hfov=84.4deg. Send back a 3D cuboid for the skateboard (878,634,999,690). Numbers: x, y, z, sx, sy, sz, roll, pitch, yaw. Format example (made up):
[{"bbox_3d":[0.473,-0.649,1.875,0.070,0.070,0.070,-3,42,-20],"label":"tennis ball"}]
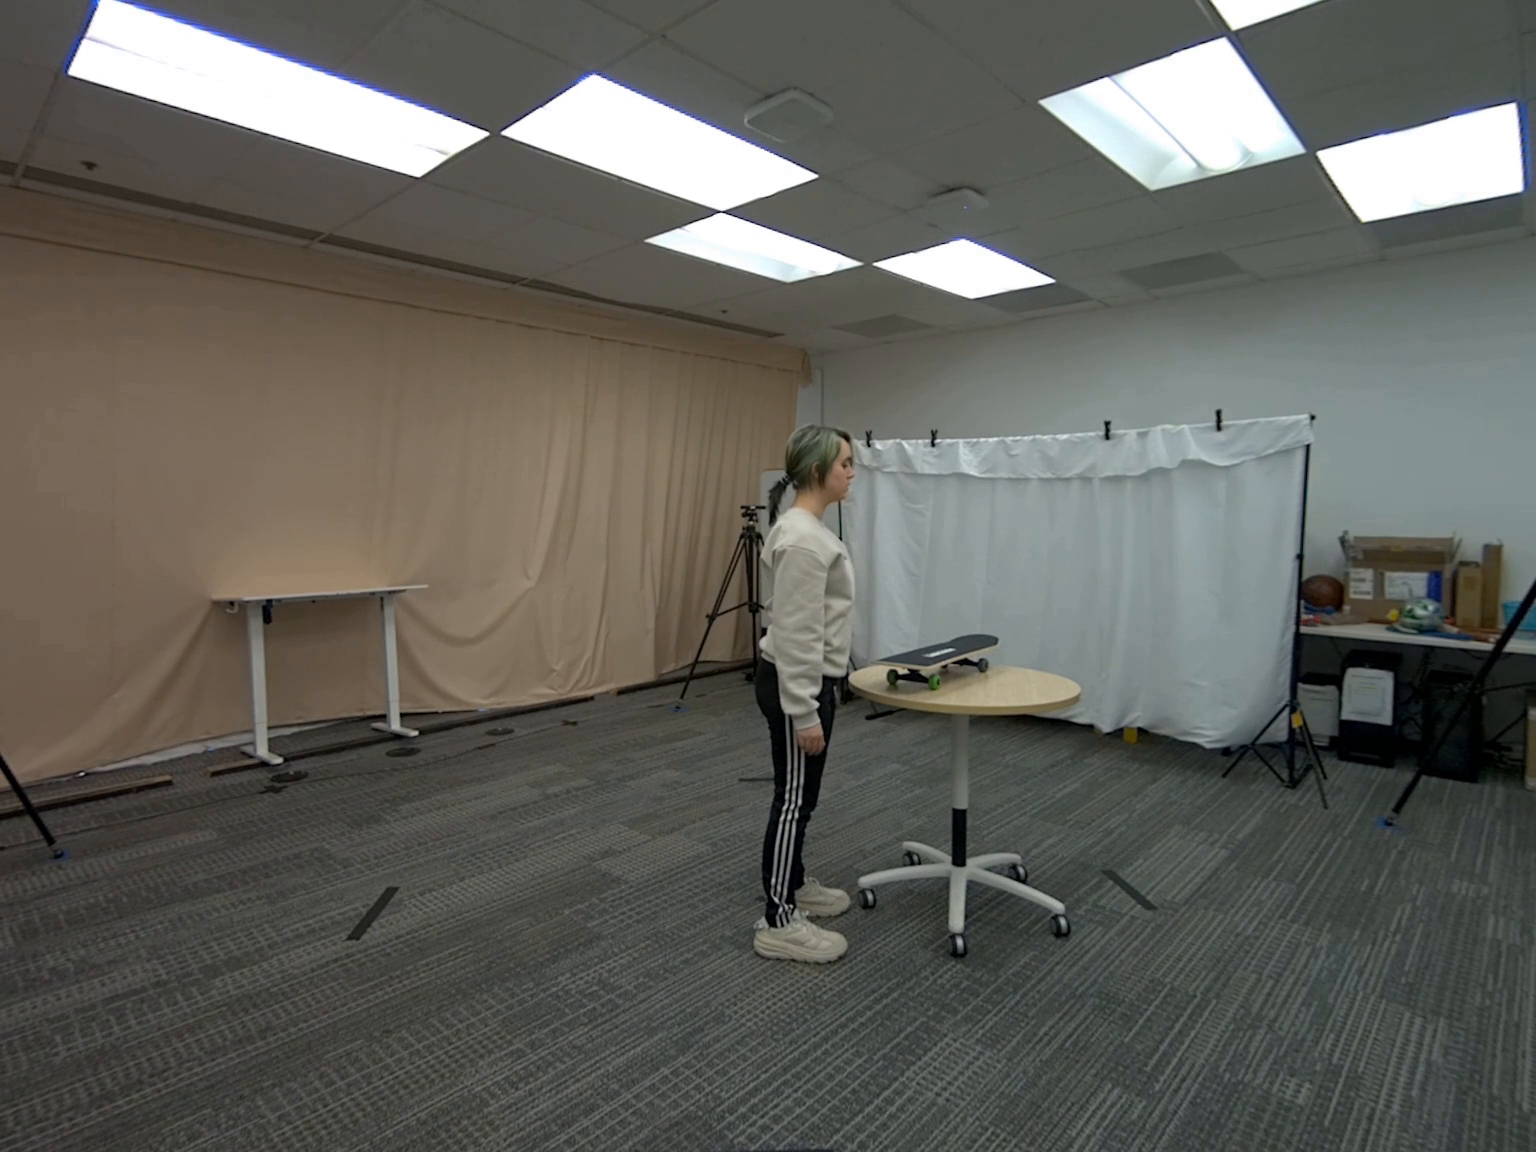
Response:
[{"bbox_3d":[0.616,0.311,2.956,0.199,0.110,0.761,0,3,40],"label":"skateboard"}]
